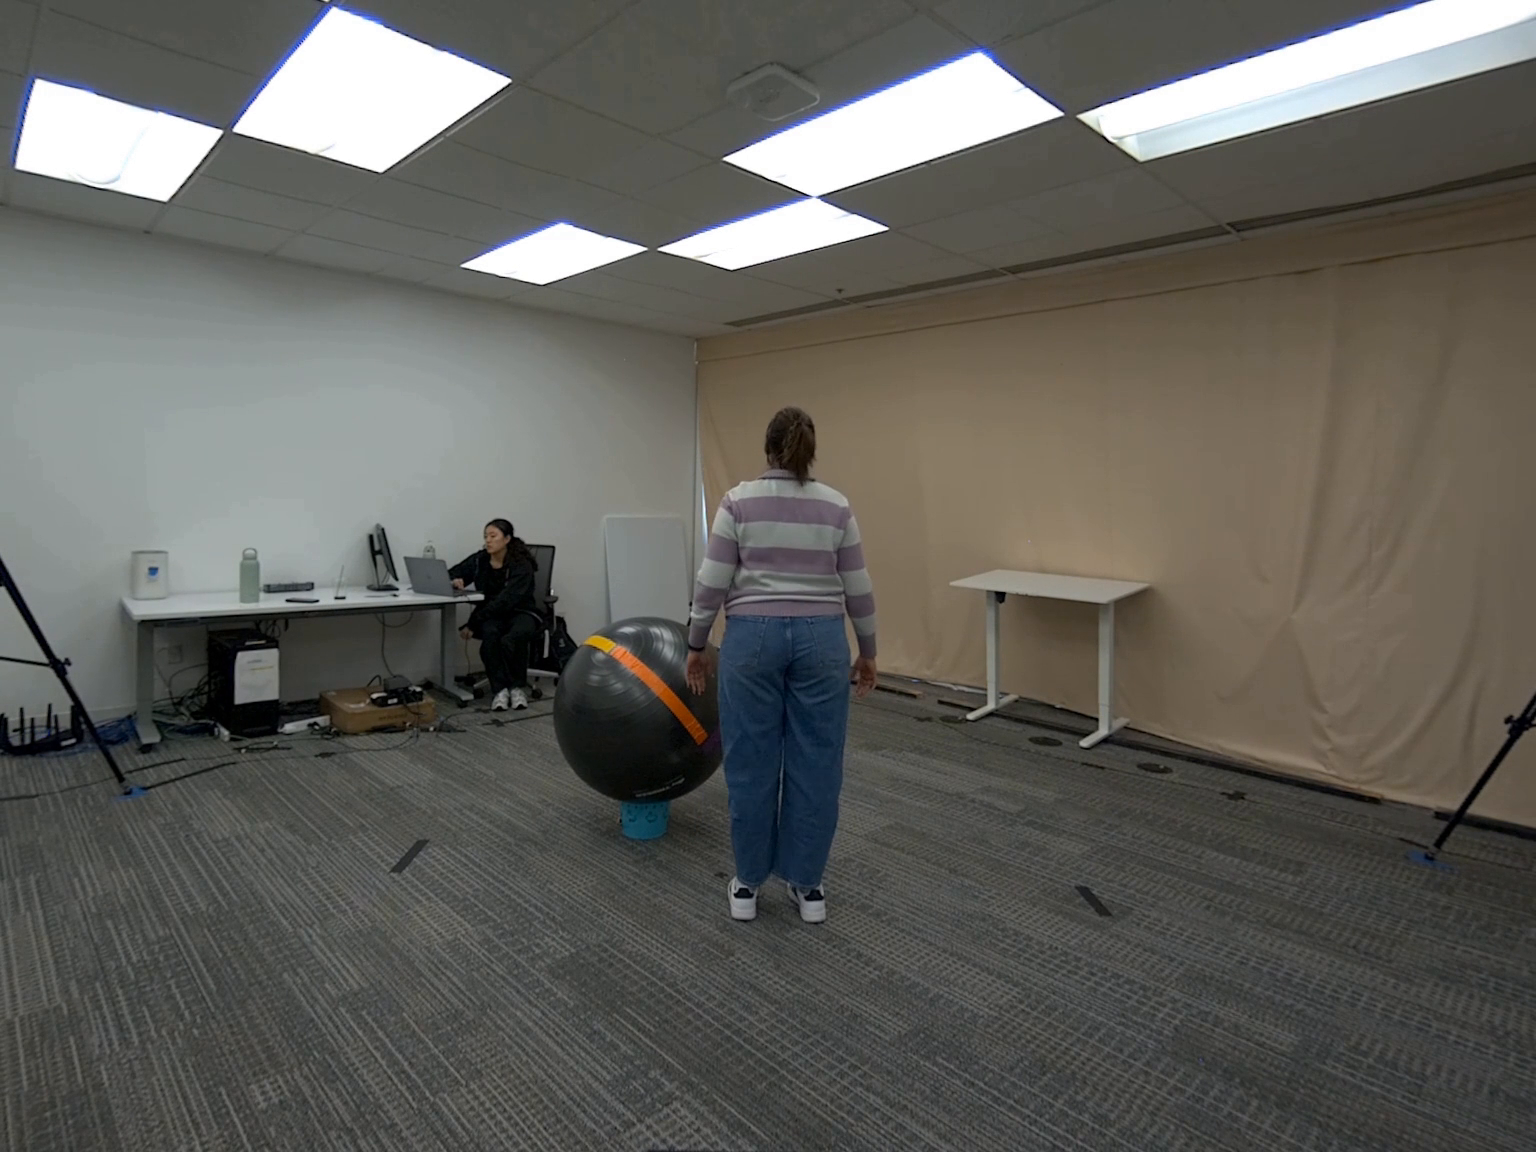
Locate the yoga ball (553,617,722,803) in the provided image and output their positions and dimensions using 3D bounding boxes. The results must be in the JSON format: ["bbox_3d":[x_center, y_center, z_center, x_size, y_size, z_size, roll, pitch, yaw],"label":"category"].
[{"bbox_3d":[-0.515,0.559,3.494,0.757,0.756,0.761,1,4,-1],"label":"yoga ball"}]
